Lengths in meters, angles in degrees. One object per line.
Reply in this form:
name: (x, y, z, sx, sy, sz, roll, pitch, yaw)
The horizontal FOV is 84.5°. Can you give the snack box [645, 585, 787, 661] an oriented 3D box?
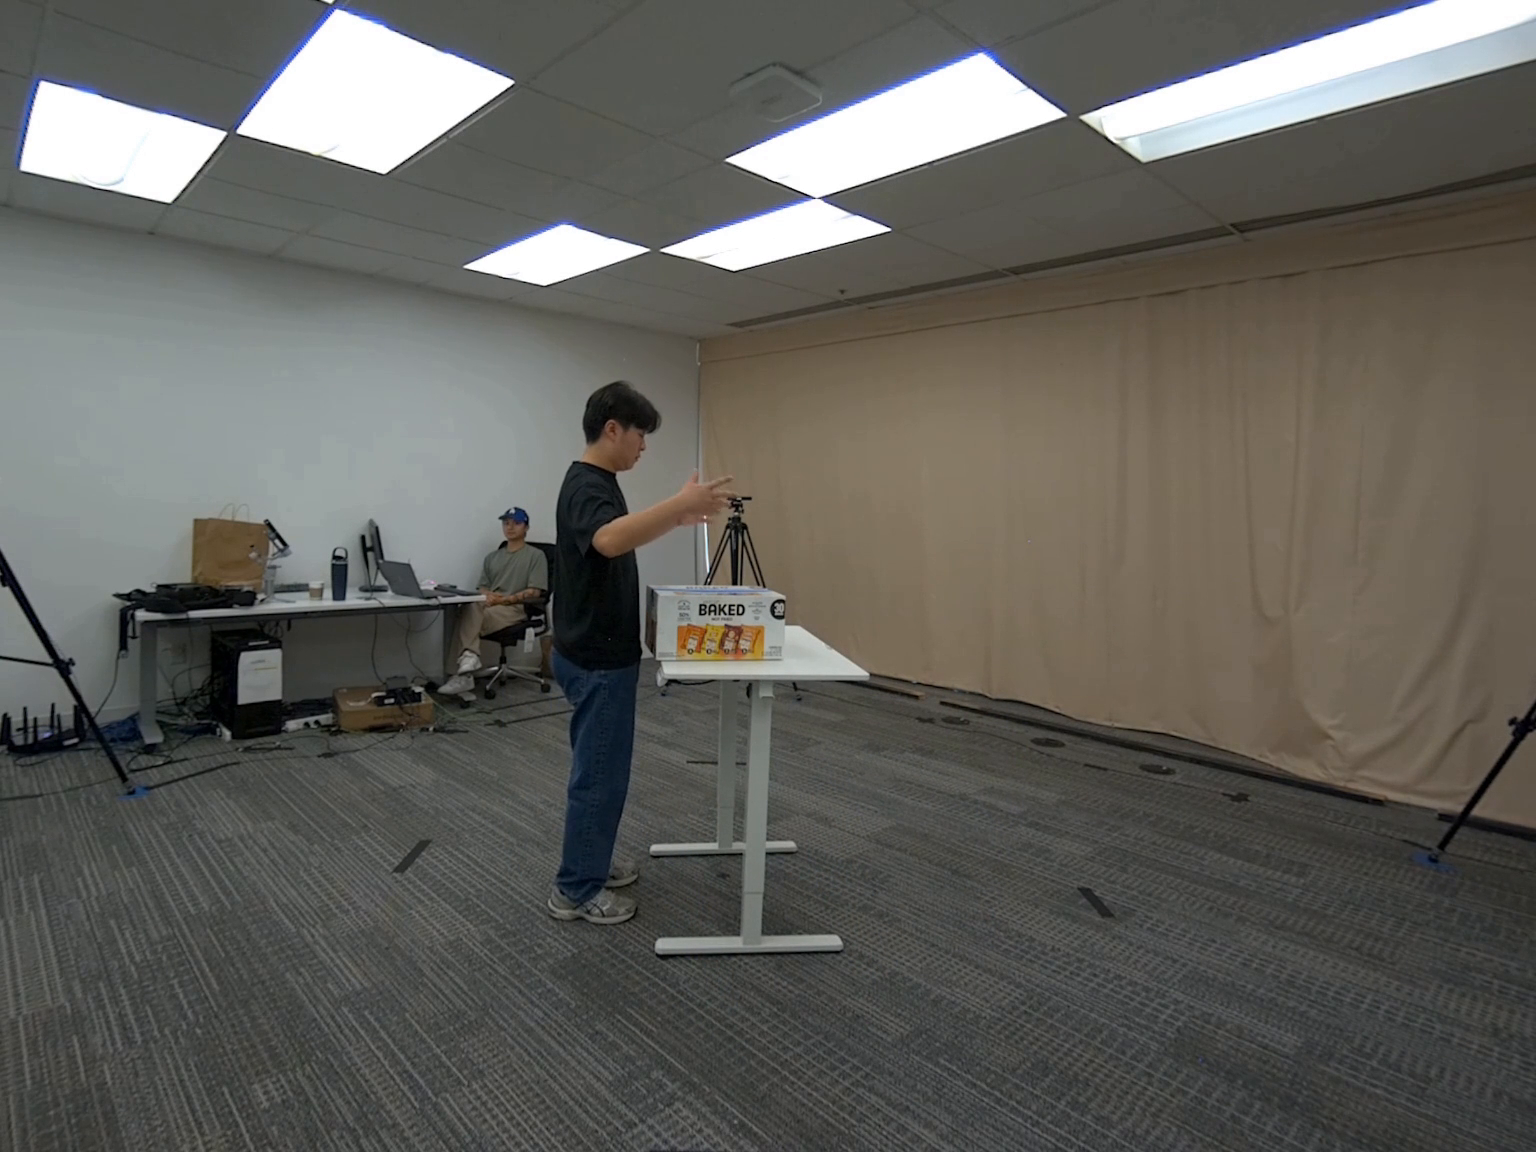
snack box: (-0.187, 0.149, 2.757, 0.401, 0.205, 0.345, 1, 4, -14)
